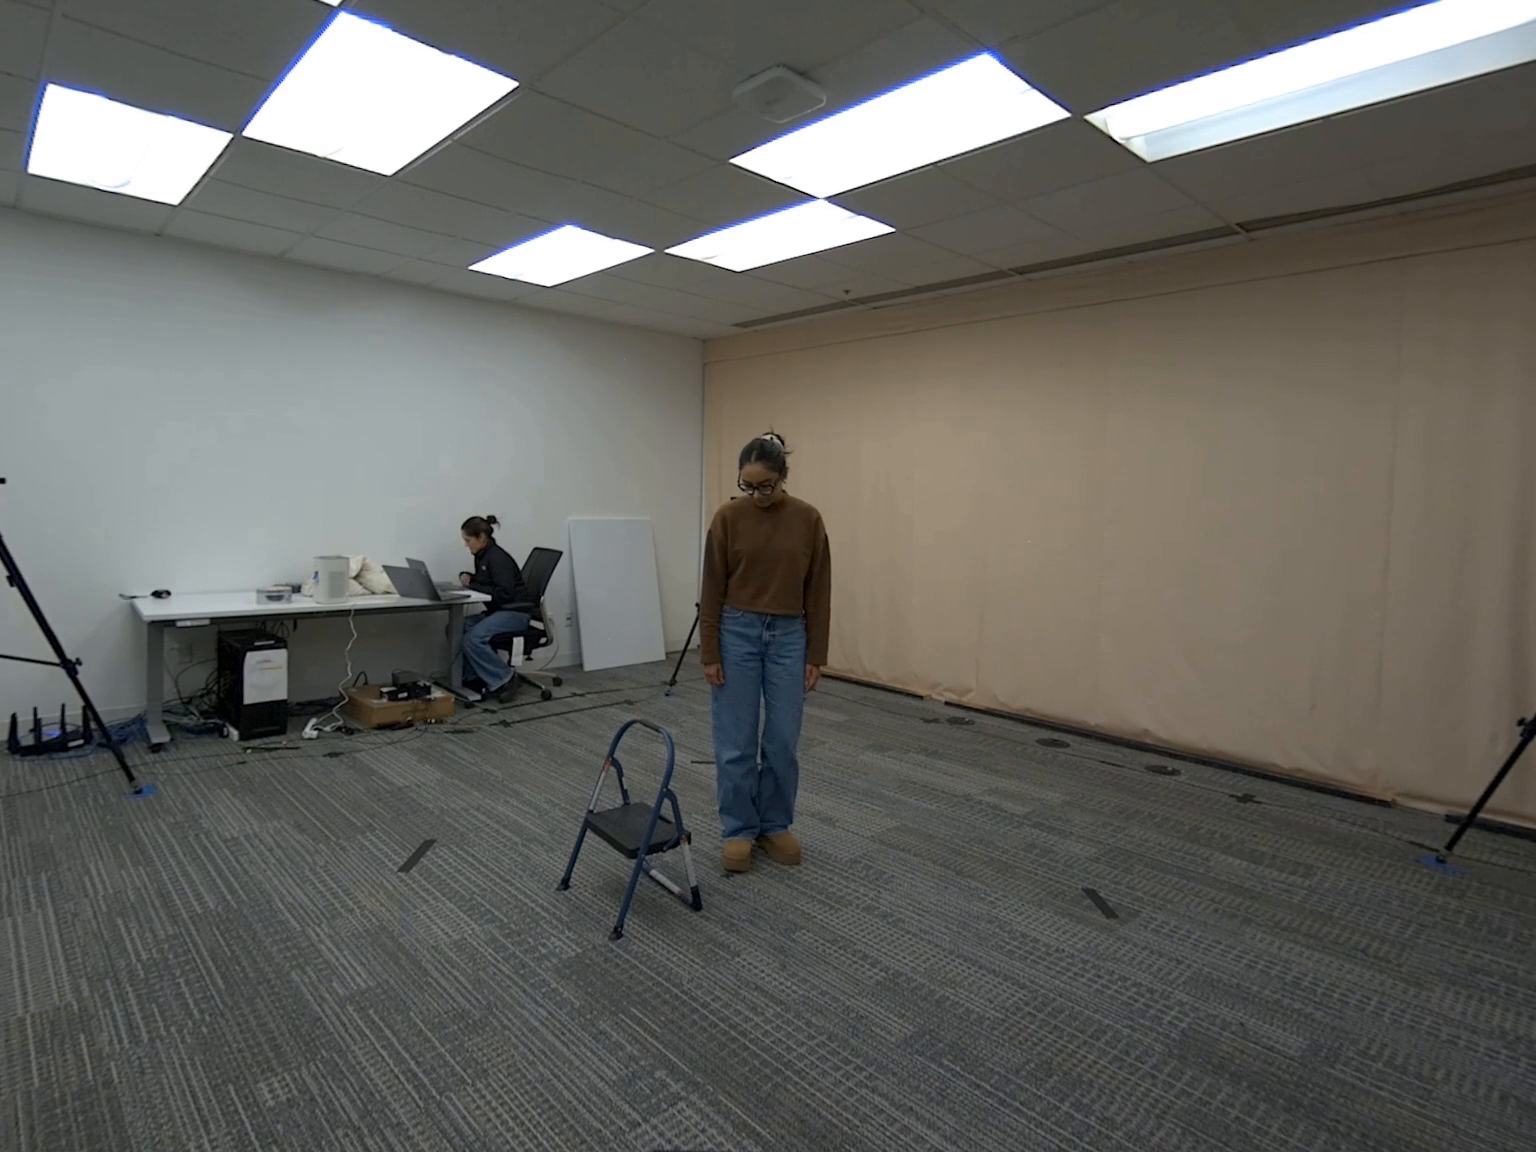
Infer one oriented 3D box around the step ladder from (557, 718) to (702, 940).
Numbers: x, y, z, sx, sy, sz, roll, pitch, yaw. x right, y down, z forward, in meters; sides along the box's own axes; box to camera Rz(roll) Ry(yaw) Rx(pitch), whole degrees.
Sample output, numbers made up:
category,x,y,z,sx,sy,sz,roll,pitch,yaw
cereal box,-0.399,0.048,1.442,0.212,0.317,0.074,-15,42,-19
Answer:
category,x,y,z,sx,sy,sz,roll,pitch,yaw
step ladder,-0.476,0.815,2.887,0.341,0.605,0.441,0,4,-37
